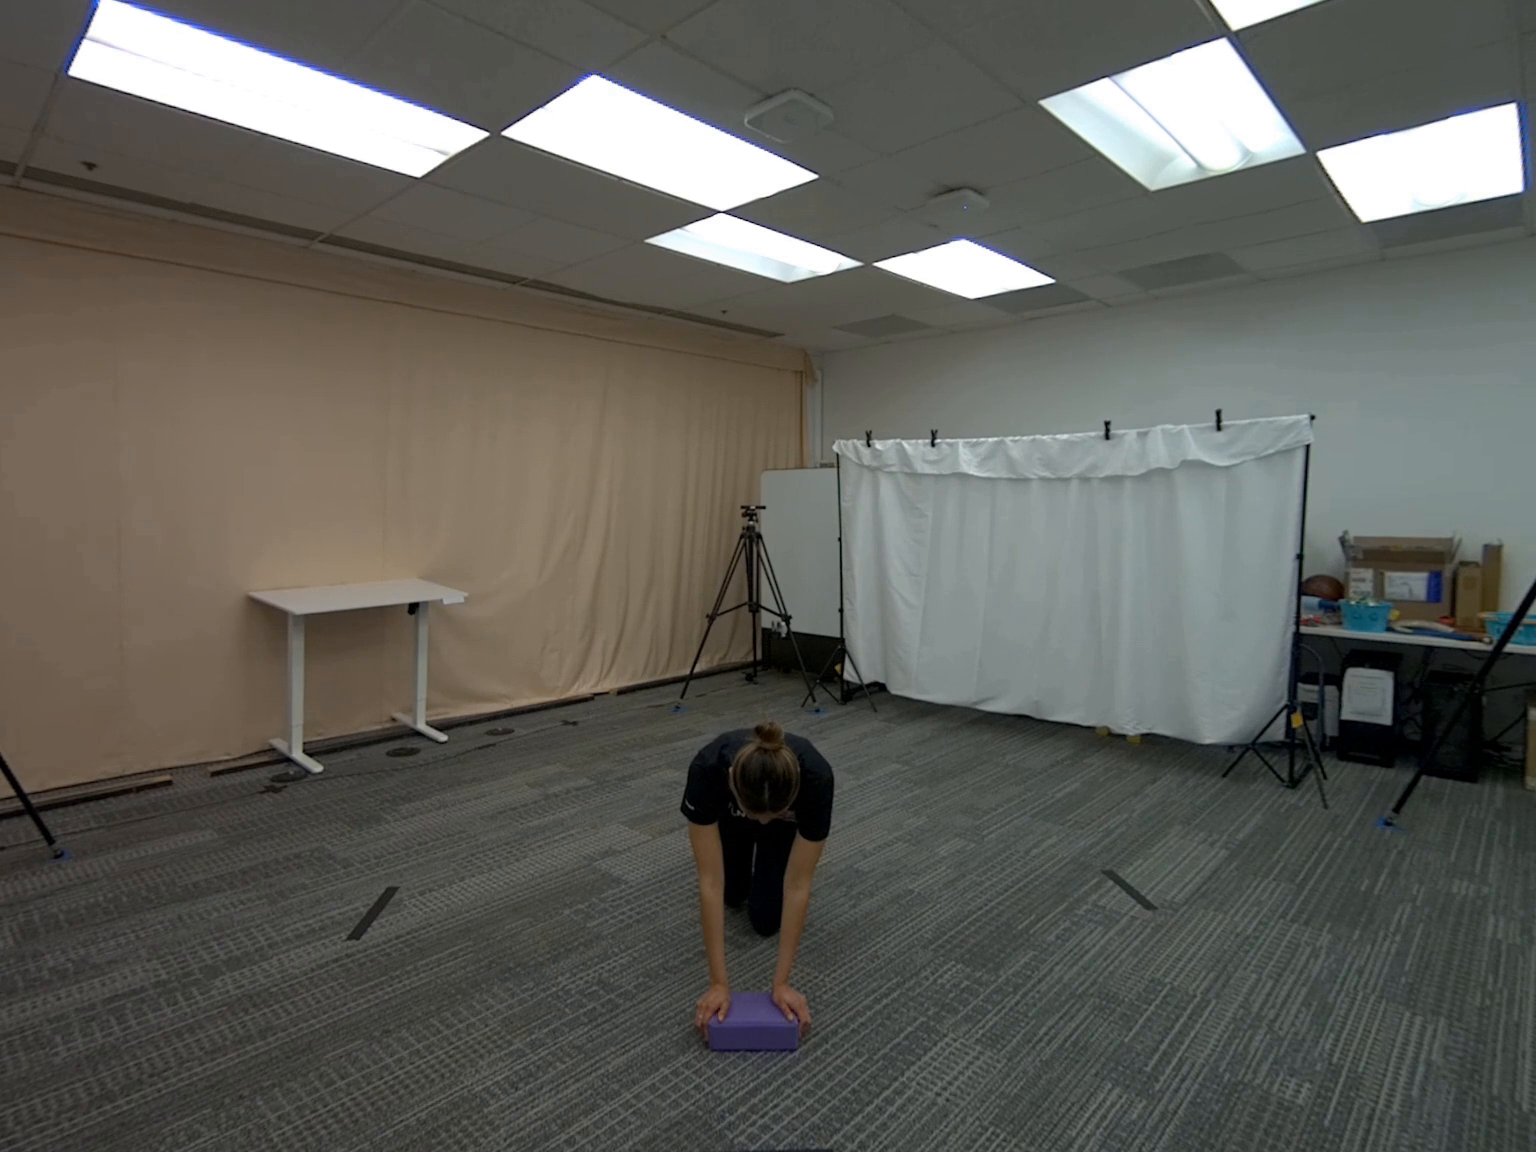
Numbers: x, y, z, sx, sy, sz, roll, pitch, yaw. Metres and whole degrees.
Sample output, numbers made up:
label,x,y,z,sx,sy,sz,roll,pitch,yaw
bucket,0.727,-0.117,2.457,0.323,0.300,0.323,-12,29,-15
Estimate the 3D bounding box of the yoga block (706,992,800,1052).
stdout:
label,x,y,z,sx,sy,sz,roll,pitch,yaw
yoga block,-0.044,1.163,2.220,0.229,0.076,0.149,-2,5,-1
